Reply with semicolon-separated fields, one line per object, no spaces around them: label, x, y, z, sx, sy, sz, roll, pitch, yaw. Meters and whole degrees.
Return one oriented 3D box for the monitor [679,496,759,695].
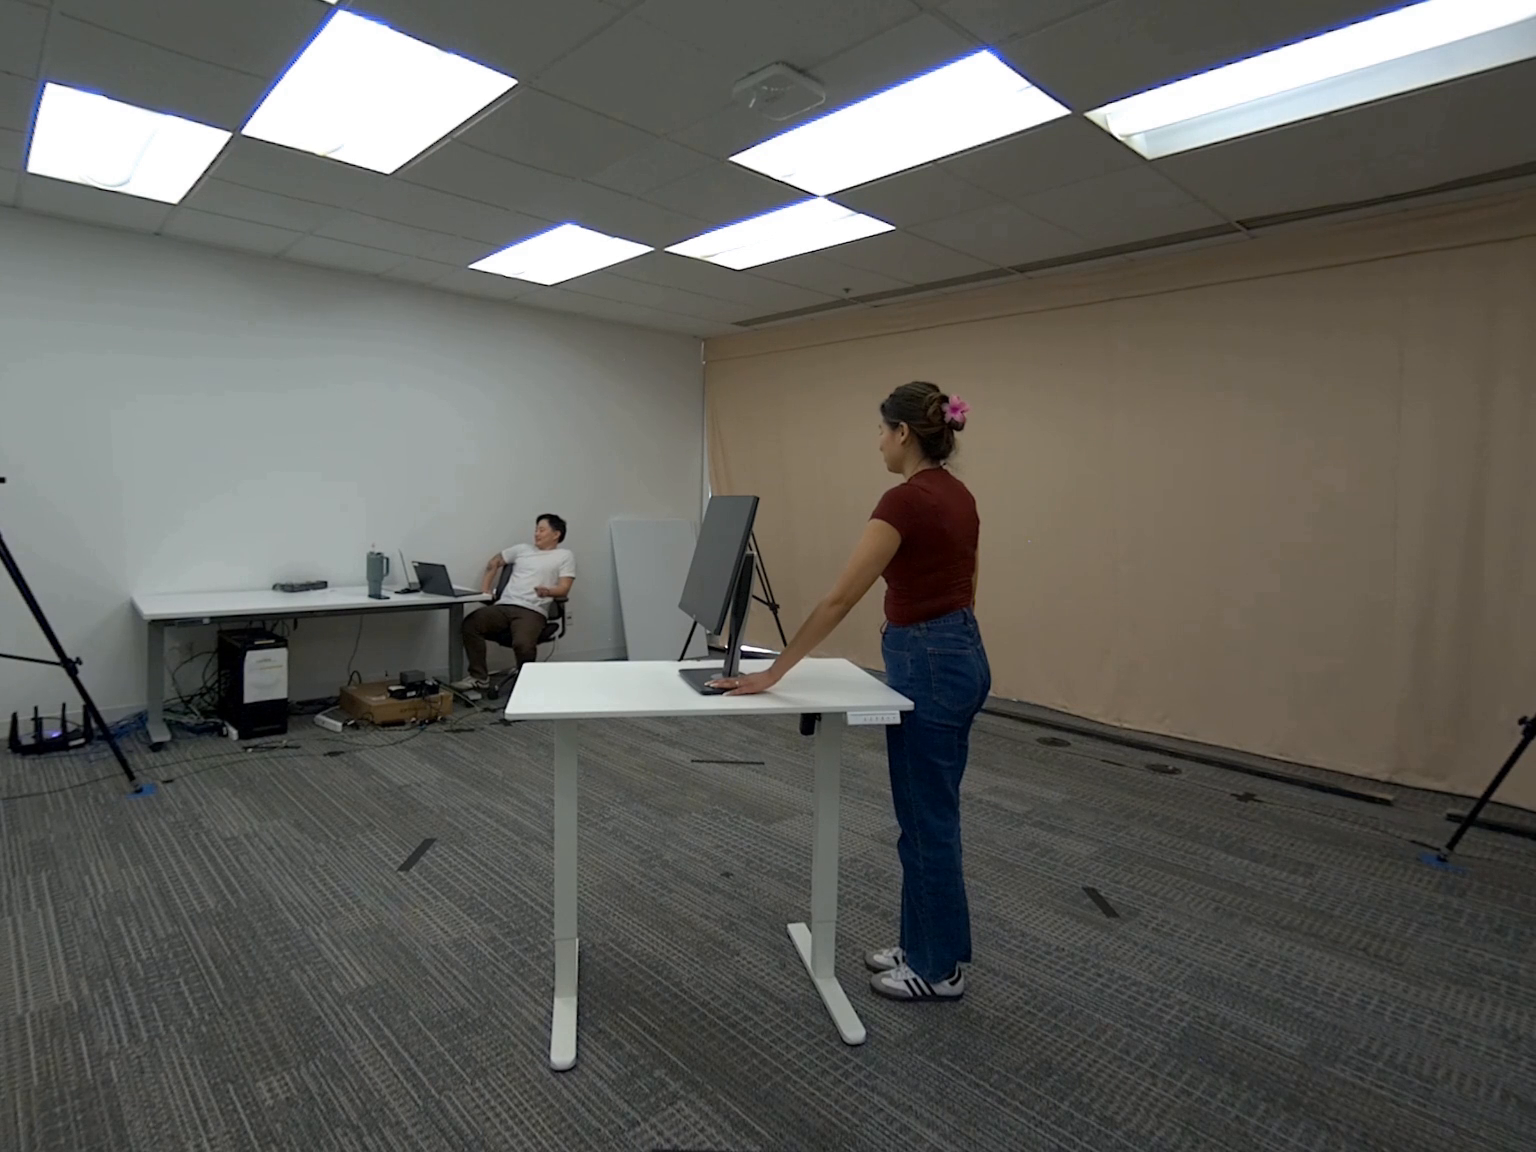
monitor;-0.119;0.041;2.293;0.184;0.522;0.547;3;3;-17
